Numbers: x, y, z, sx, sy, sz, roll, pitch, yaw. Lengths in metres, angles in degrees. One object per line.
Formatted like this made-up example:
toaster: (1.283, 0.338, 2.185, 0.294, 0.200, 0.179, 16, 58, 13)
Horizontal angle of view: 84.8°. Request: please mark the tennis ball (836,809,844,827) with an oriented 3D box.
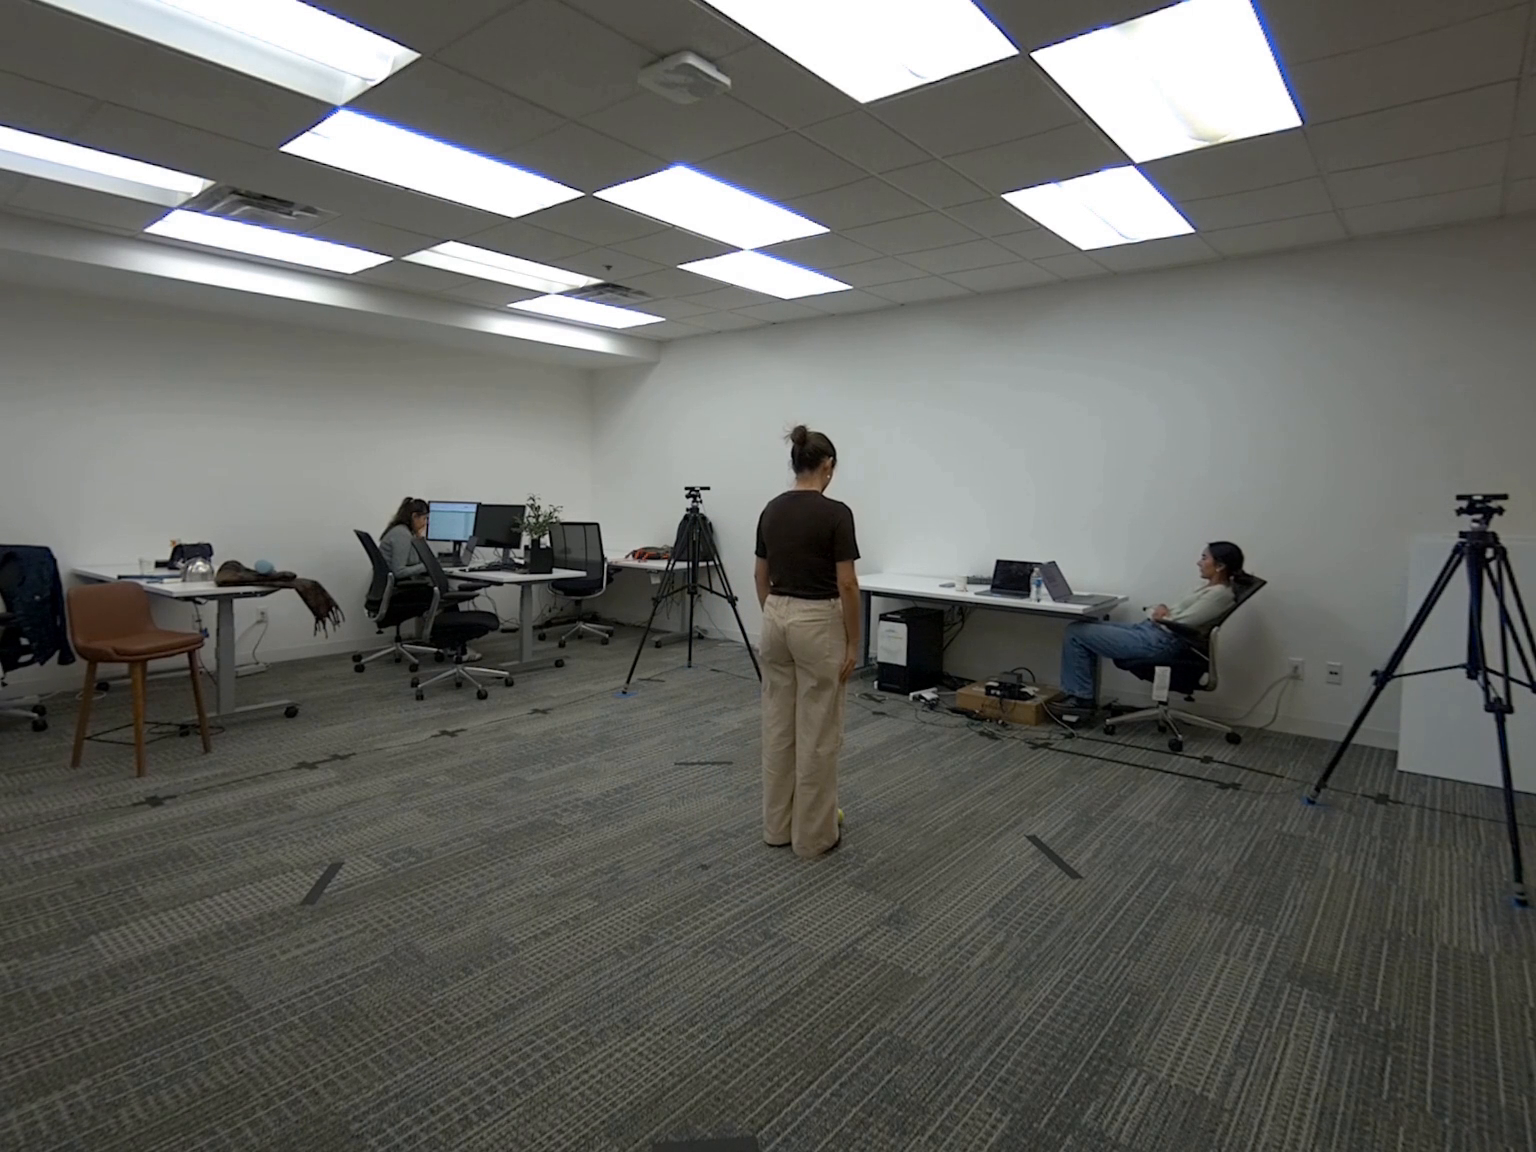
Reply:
tennis ball: (0.264, 0.976, 3.534, 0.066, 0.066, 0.067, 1, 4, -2)
